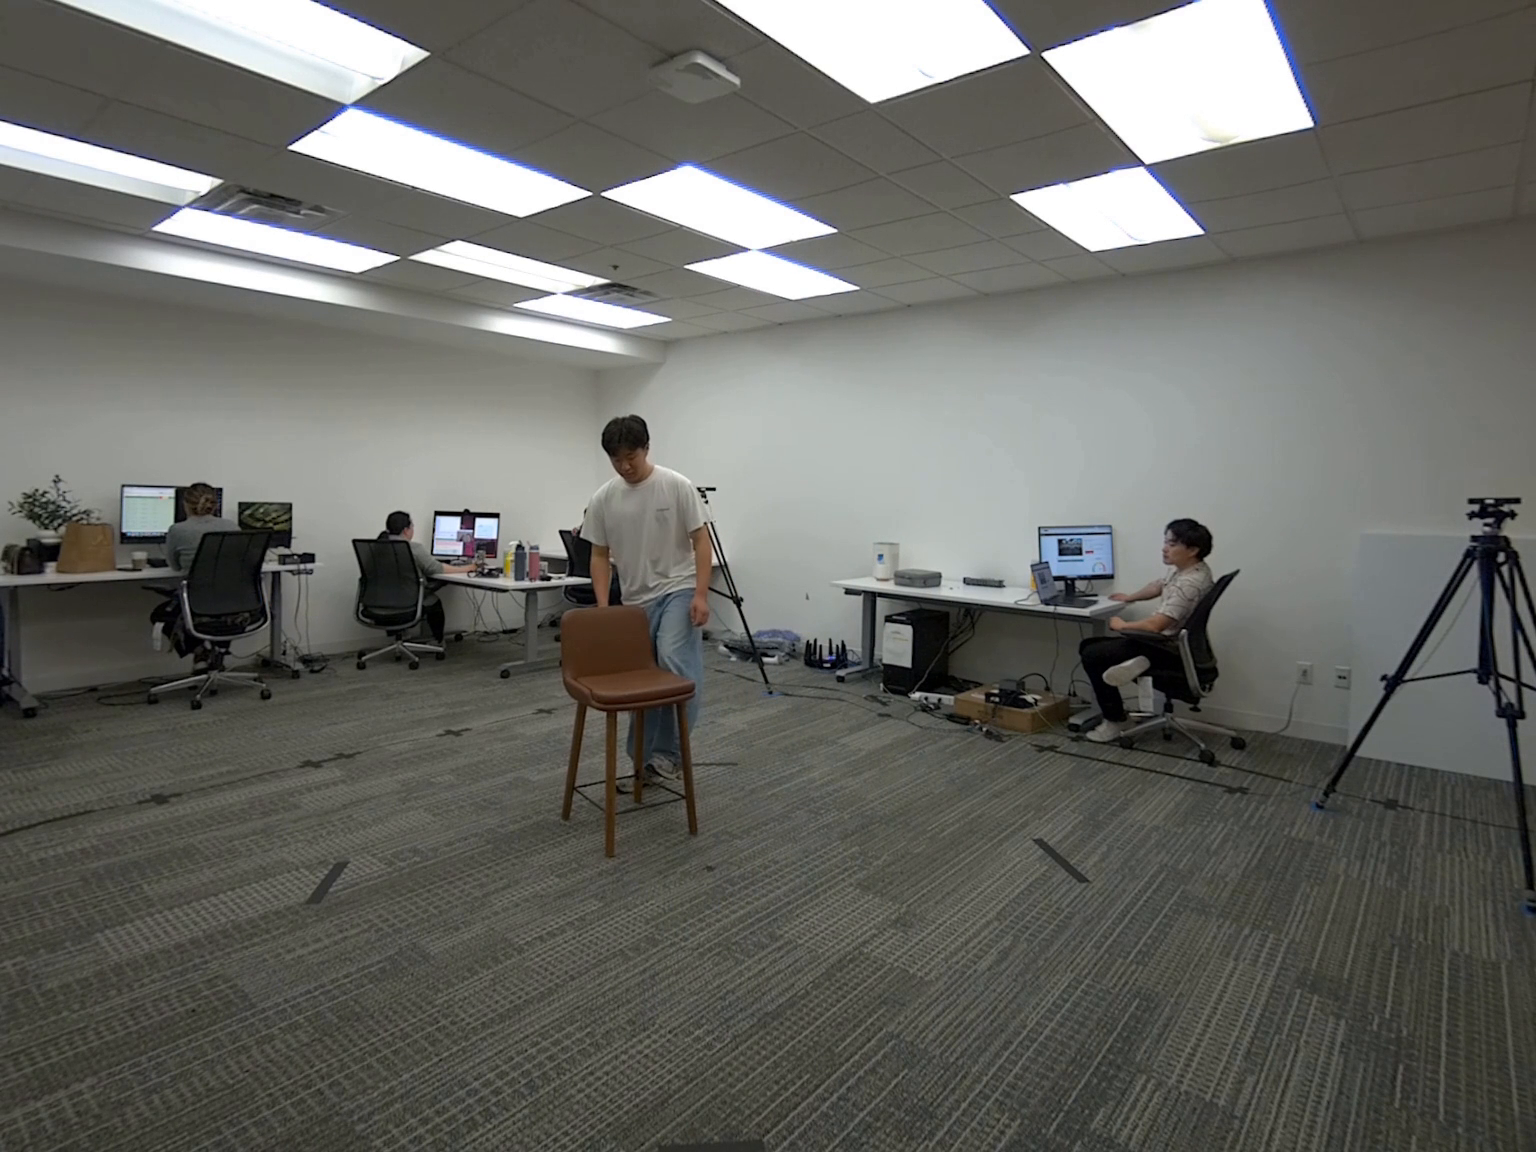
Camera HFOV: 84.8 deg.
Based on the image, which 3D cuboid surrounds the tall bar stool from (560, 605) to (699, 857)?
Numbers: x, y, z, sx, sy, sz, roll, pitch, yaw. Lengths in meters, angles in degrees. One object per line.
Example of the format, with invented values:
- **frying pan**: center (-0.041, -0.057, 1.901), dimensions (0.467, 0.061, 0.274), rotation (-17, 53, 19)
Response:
- **tall bar stool**: center (-0.592, 0.588, 3.467), dimensions (0.443, 0.889, 0.482), rotation (-1, 2, -38)
